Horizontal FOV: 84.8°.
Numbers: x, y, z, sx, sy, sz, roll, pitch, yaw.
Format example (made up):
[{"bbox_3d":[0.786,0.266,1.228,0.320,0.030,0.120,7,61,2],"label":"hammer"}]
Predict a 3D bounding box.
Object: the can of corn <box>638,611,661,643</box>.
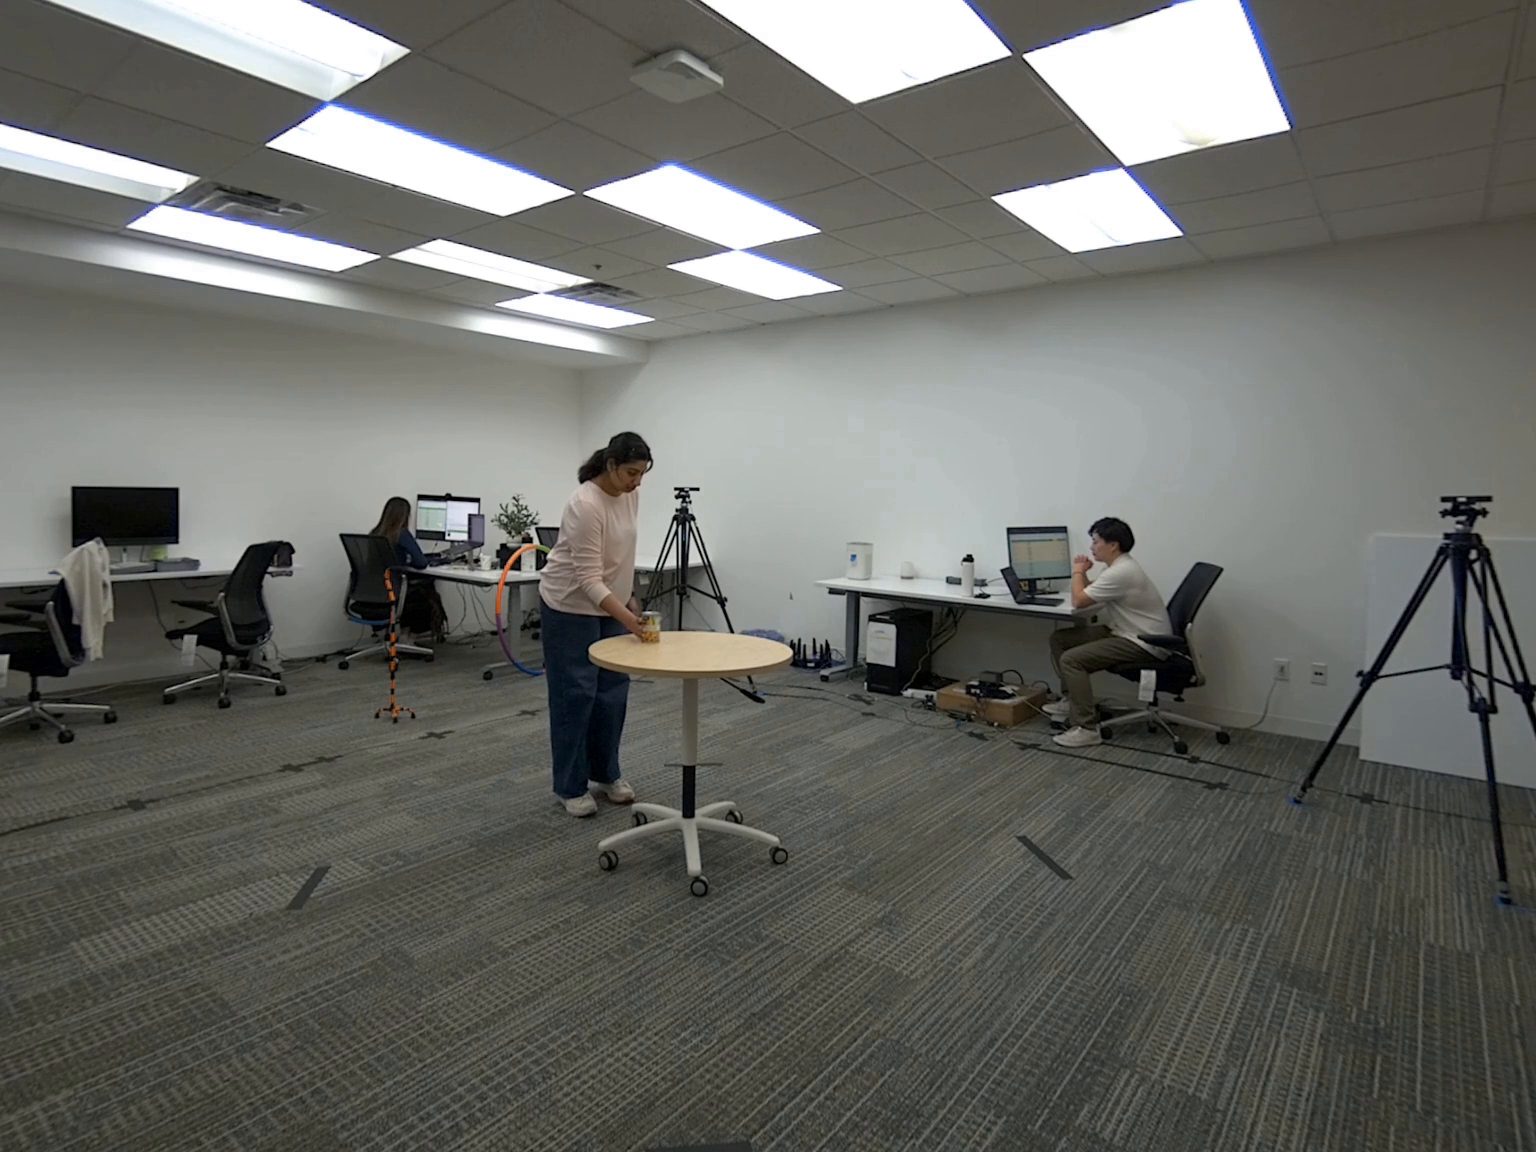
[{"bbox_3d":[-0.474,0.200,3.339,0.074,0.111,0.074,1,4,-2],"label":"can of corn"}]
